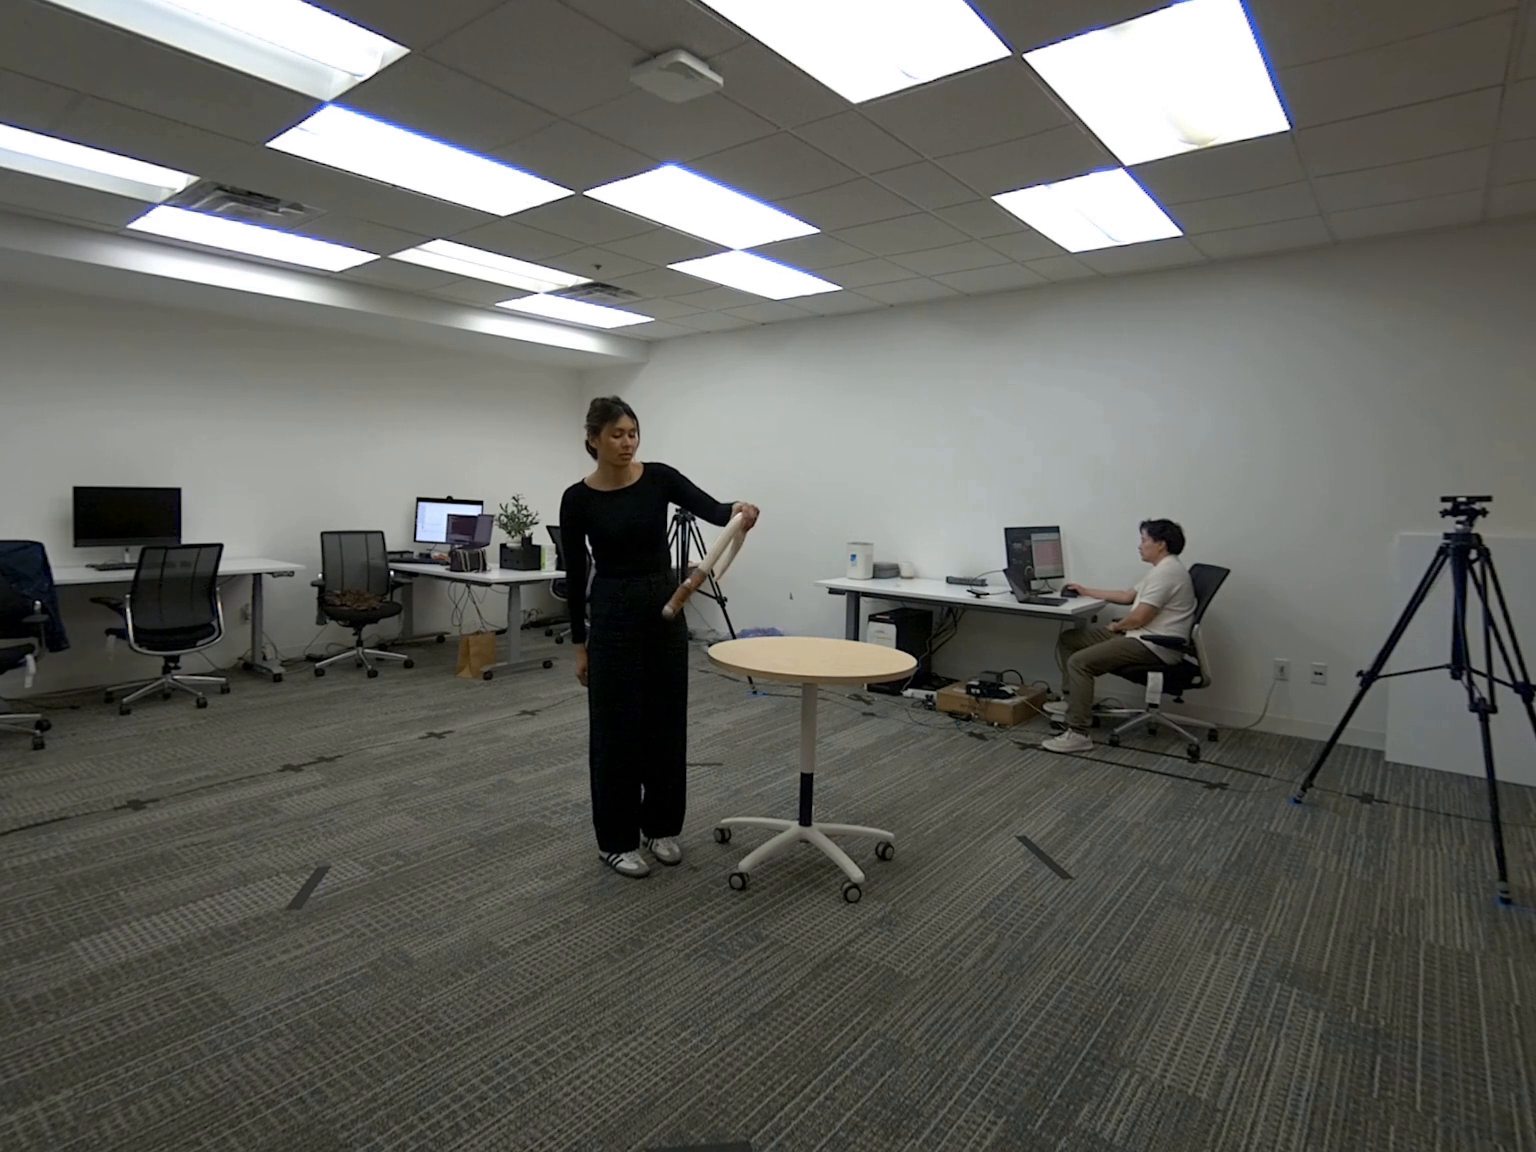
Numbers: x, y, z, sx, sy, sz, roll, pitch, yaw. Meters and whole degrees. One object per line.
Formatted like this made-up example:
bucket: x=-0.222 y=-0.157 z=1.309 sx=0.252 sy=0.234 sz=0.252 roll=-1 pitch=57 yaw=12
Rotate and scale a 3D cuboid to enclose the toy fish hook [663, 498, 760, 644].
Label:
toy fish hook: x=-0.168 y=-0.008 z=2.566 sx=0.049 sy=0.219 sz=0.508 roll=20 pitch=45 yaw=16
